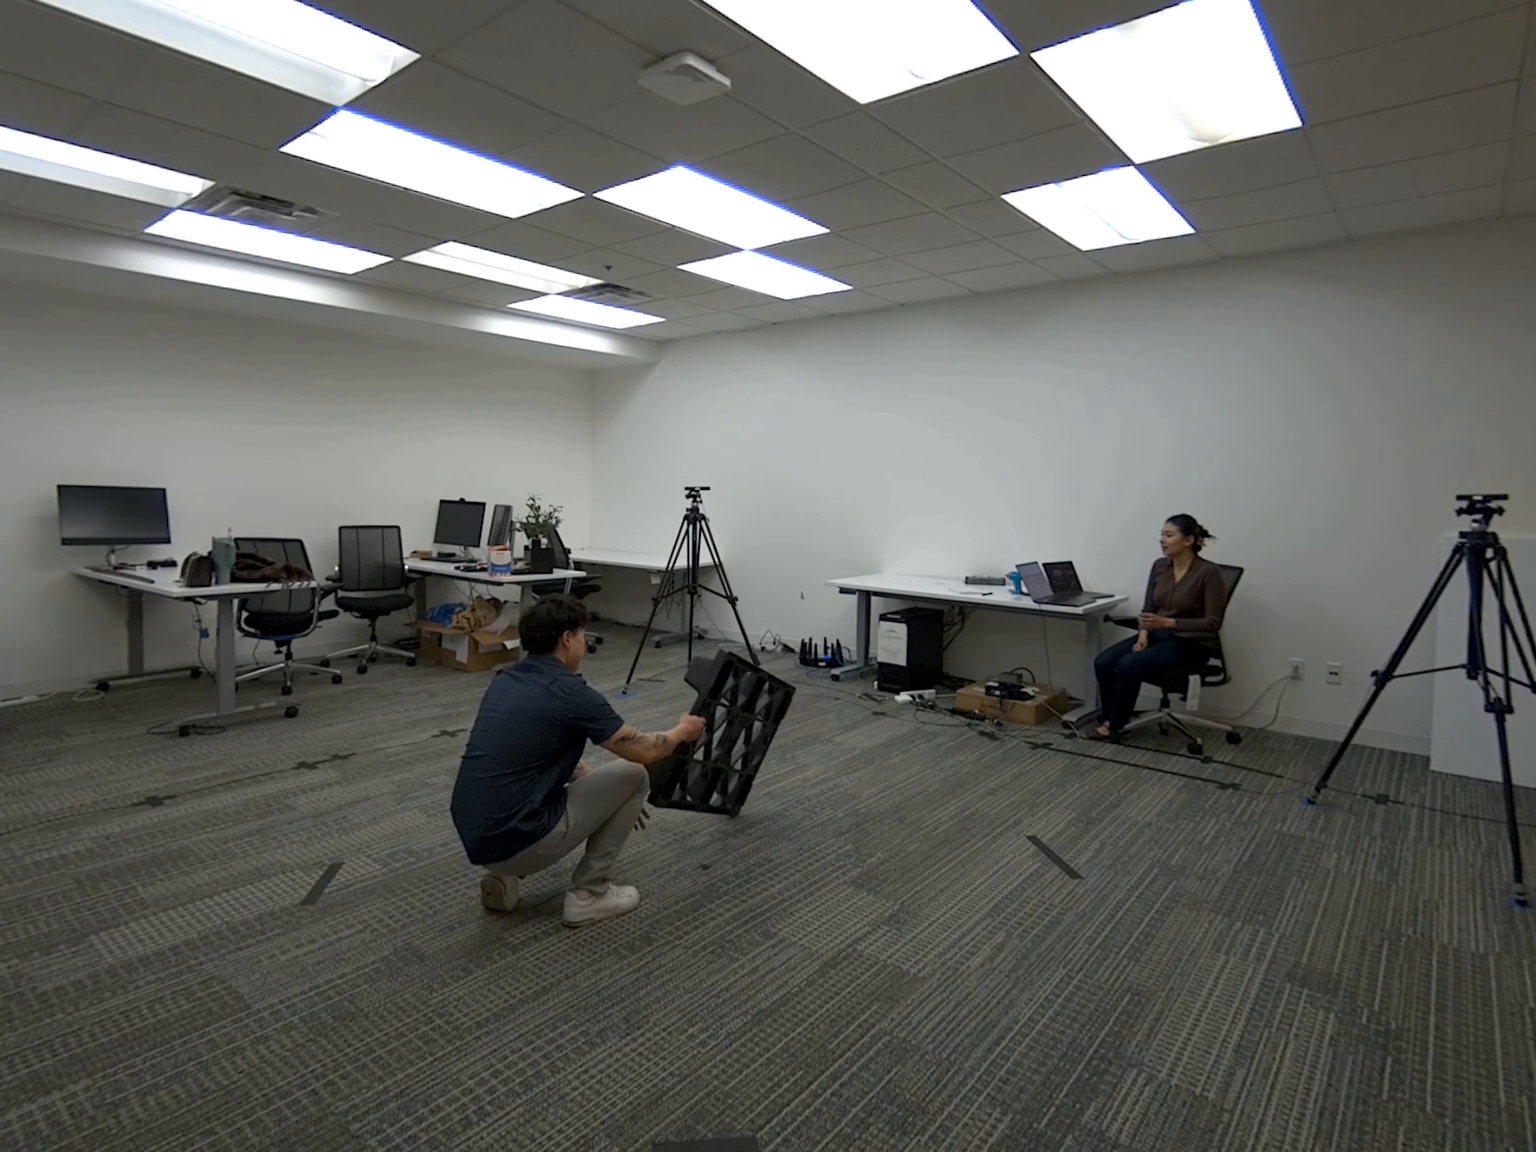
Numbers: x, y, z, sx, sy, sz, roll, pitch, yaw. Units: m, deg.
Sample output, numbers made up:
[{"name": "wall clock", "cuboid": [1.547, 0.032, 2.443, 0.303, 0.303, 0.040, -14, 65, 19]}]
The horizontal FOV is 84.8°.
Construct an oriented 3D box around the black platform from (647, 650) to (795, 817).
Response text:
[{"name": "black platform", "cuboid": [-0.195, 0.619, 3.353, 0.148, 0.607, 0.777, 21, -9, 26]}]
